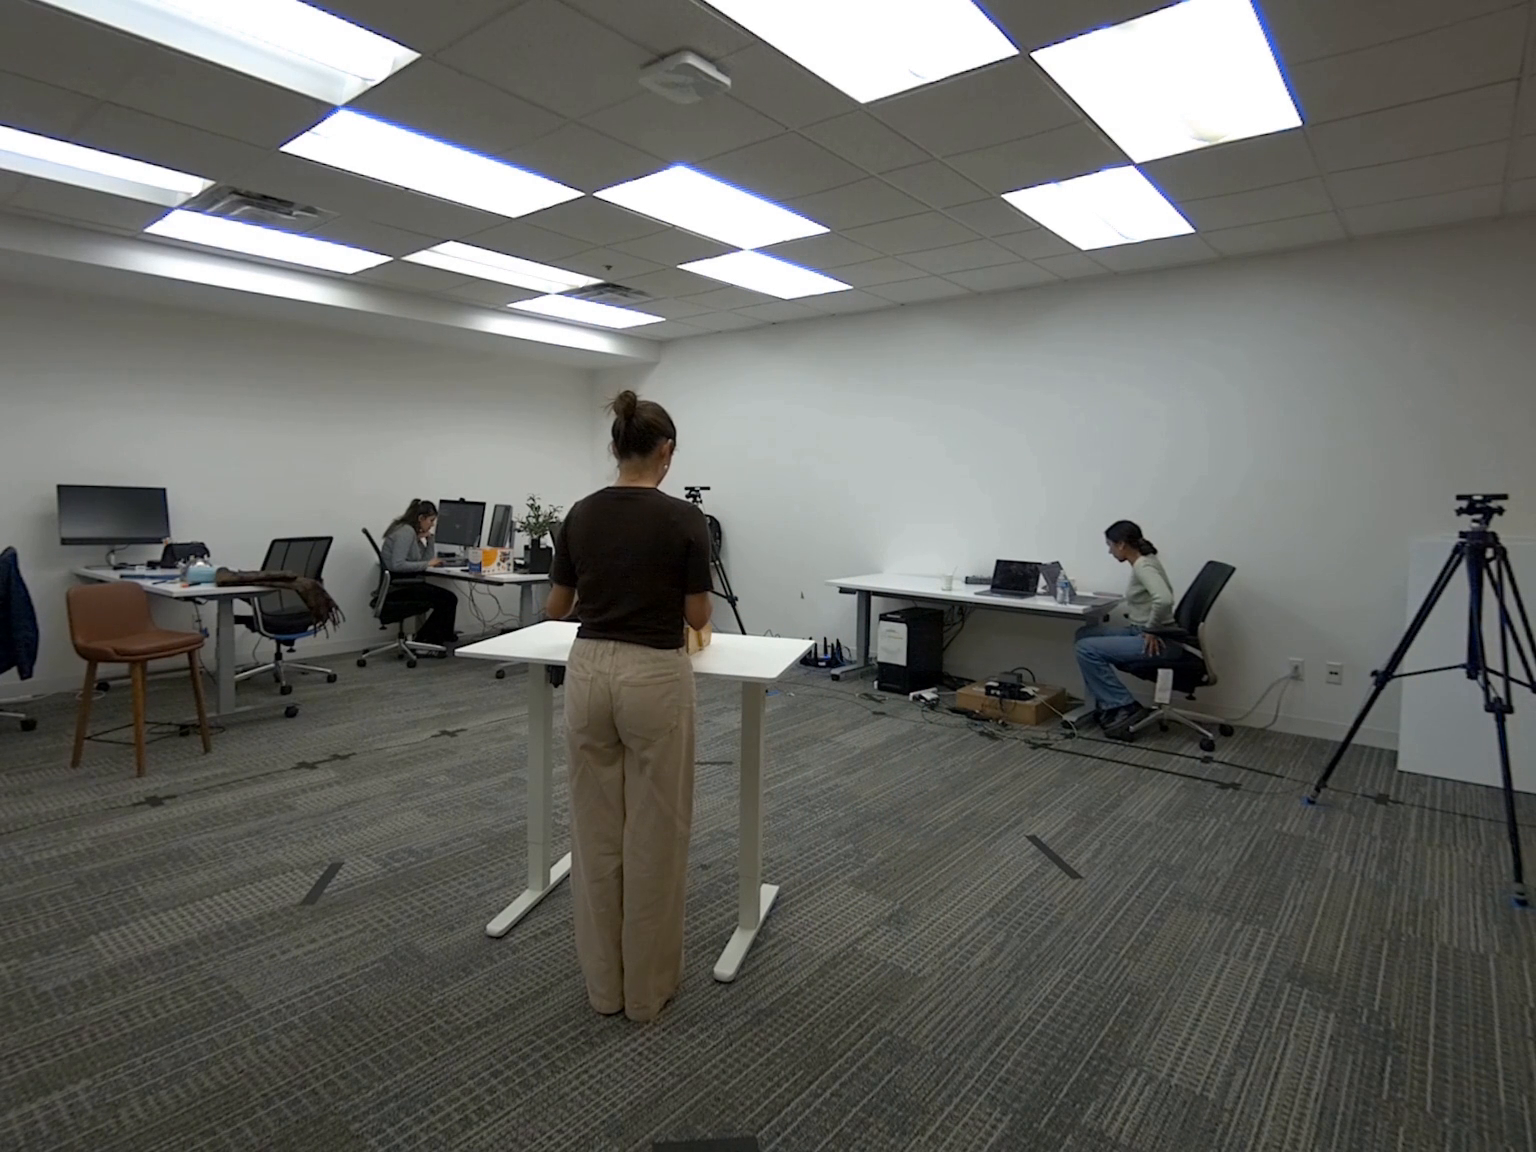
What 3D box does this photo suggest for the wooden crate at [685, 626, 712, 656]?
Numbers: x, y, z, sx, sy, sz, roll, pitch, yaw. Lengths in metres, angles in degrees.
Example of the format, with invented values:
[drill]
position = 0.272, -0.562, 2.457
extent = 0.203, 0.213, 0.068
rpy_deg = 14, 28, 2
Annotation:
[wooden crate]
position = -0.369, 0.092, 2.669
extent = 0.329, 0.272, 0.299
rpy_deg = 2, 6, 13
